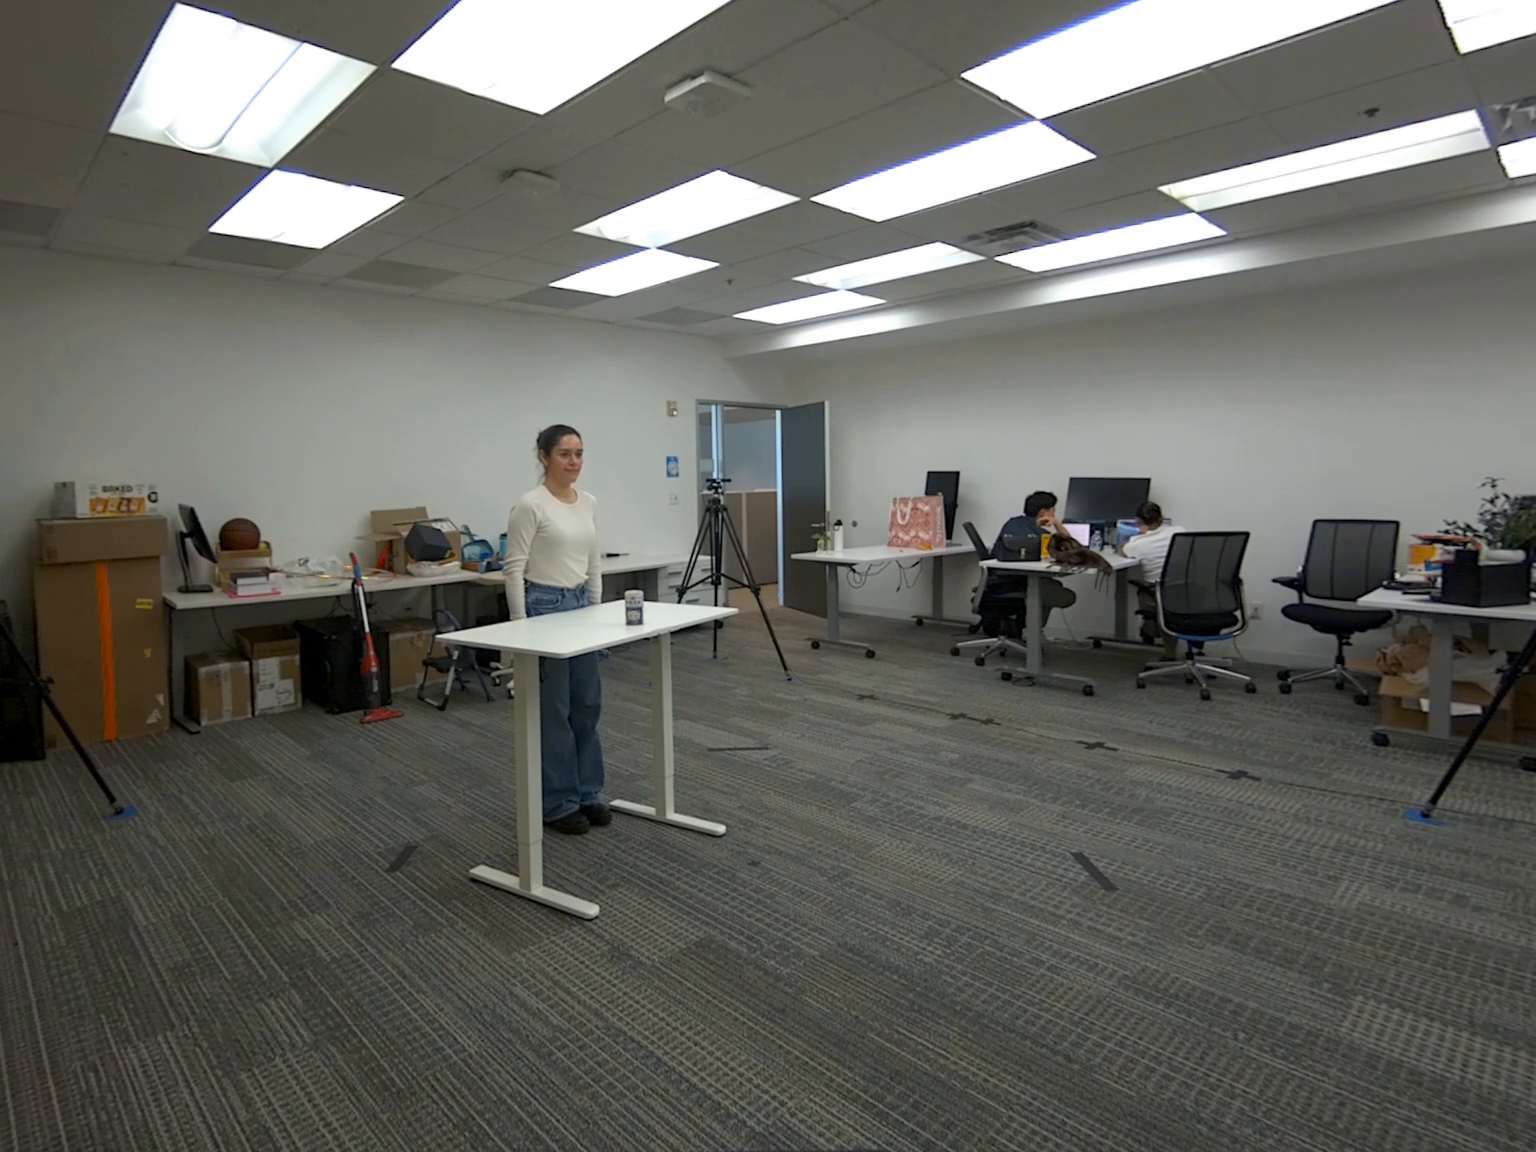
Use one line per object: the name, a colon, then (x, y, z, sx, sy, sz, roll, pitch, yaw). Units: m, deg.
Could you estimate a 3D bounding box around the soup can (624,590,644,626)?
soup can: (-0.480, 0.115, 3.070, 0.067, 0.121, 0.067, -2, 5, -2)
